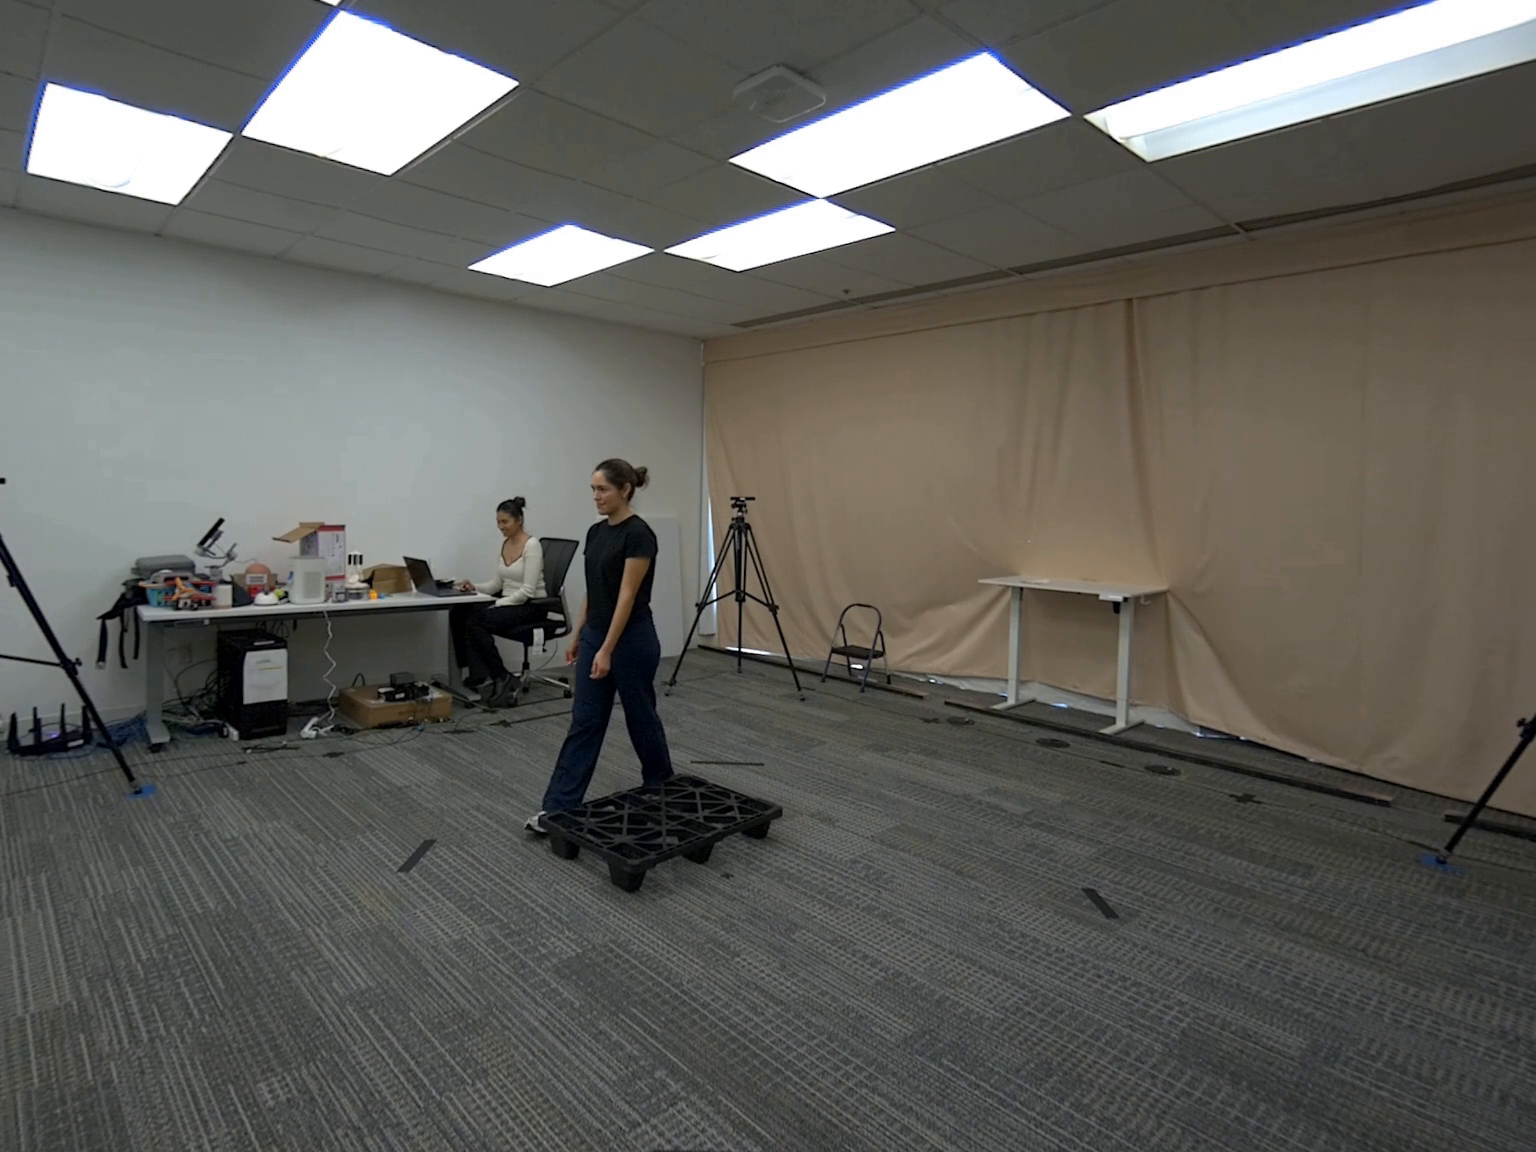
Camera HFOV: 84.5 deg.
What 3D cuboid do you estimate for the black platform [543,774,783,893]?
[{"bbox_3d":[-0.425,1.014,3.350,0.620,0.143,0.787,5,6,42],"label":"black platform"}]
